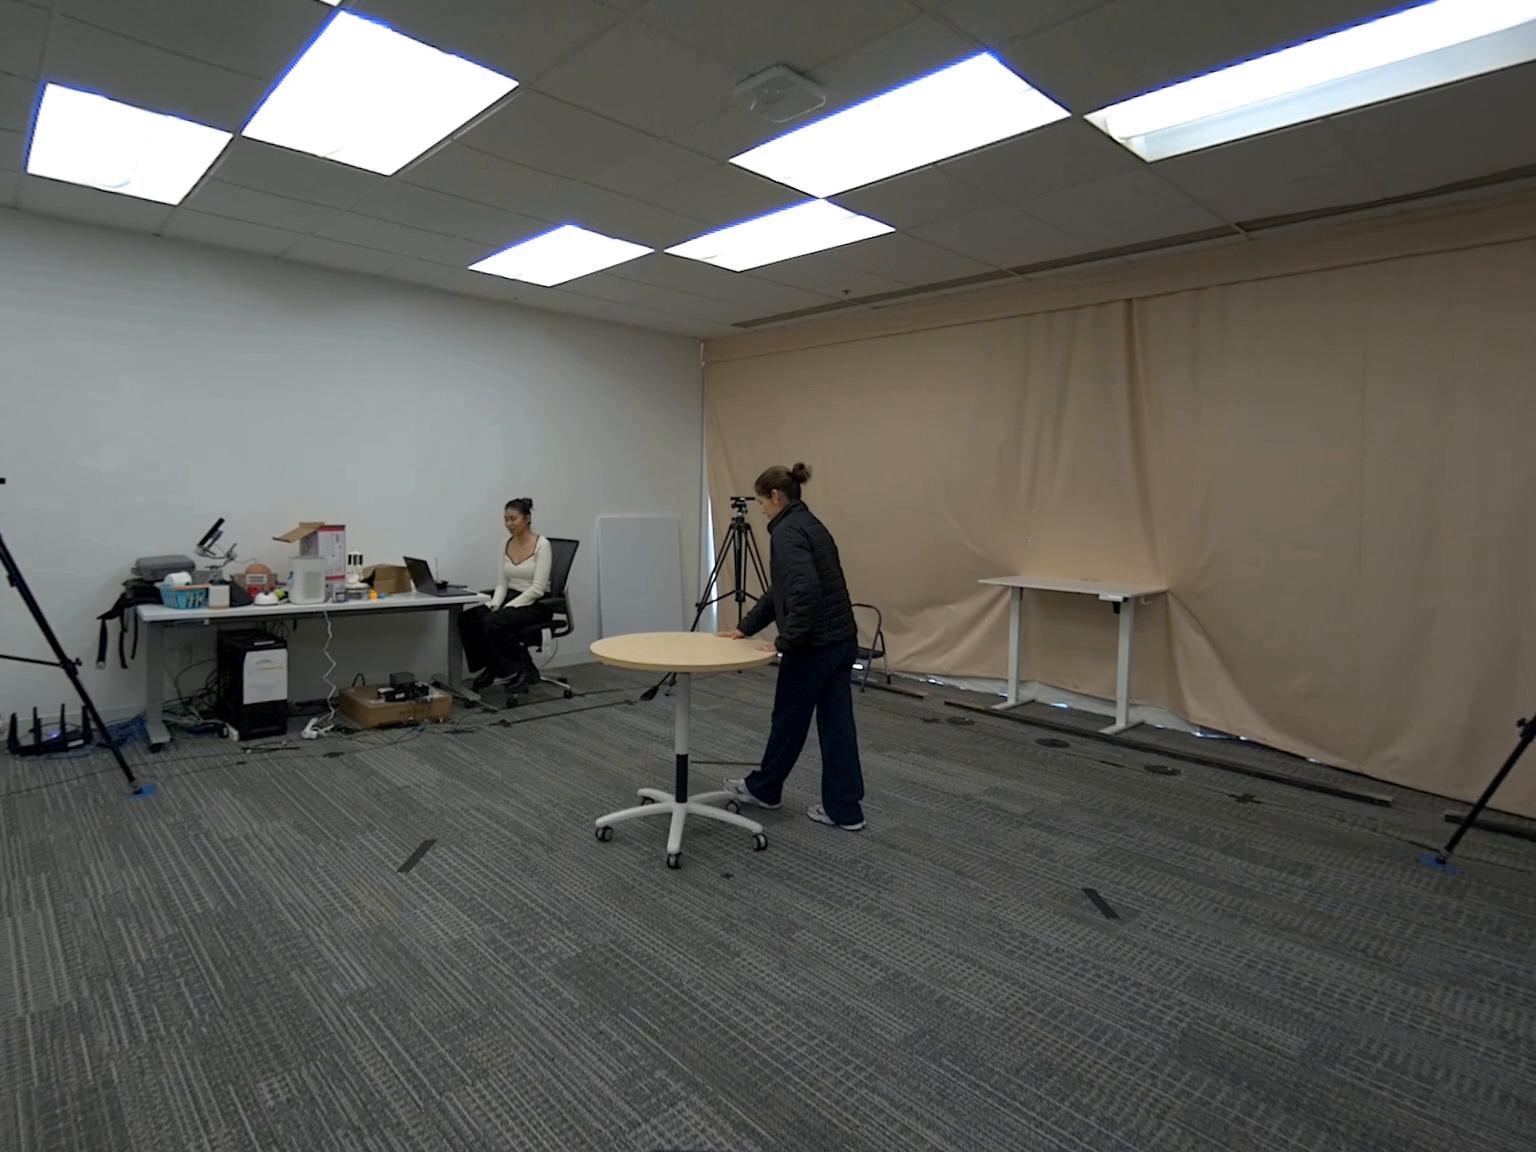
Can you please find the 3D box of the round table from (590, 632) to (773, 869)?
[{"bbox_3d":[-0.344,0.680,3.451,0.784,0.784,0.787,2,4,-1],"label":"round table"}]
